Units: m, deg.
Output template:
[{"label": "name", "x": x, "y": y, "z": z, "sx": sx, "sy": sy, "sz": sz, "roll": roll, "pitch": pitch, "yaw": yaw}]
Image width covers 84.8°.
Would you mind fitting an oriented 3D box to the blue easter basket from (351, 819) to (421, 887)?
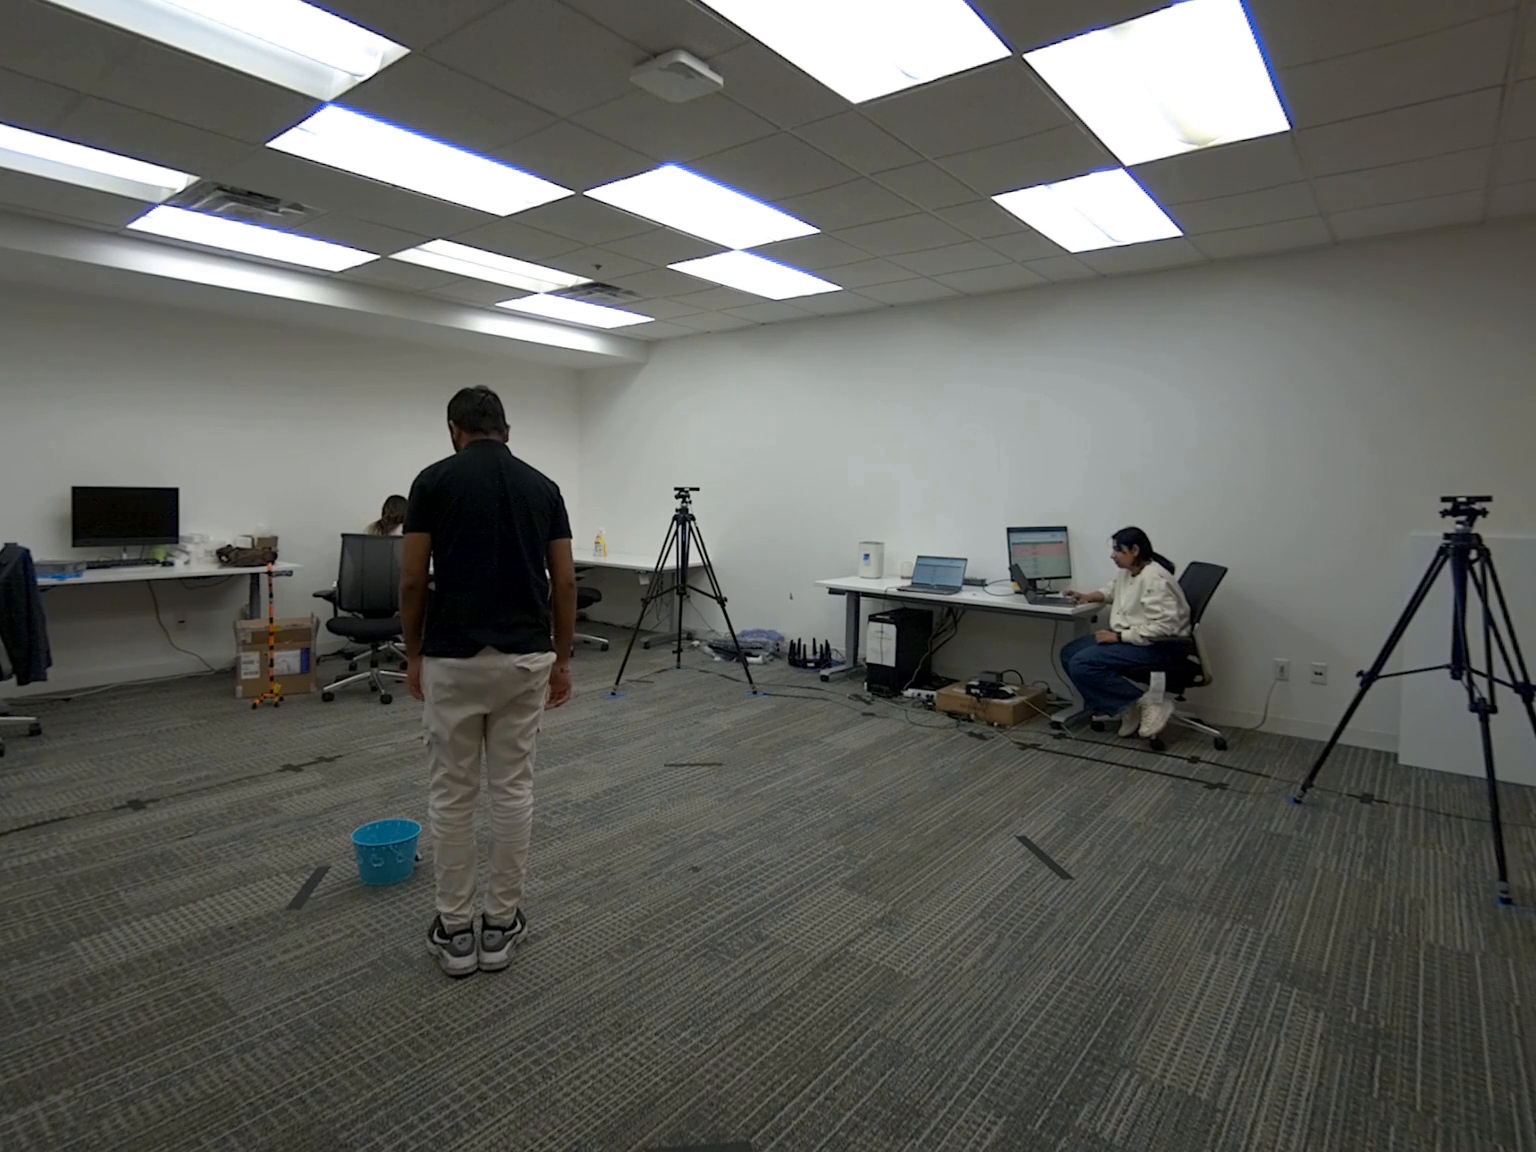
[{"label": "blue easter basket", "x": -1.371, "y": 0.985, "z": 3.023, "sx": 0.243, "sy": 0.155, "sz": 0.245, "roll": 1, "pitch": 6, "yaw": -2}]
